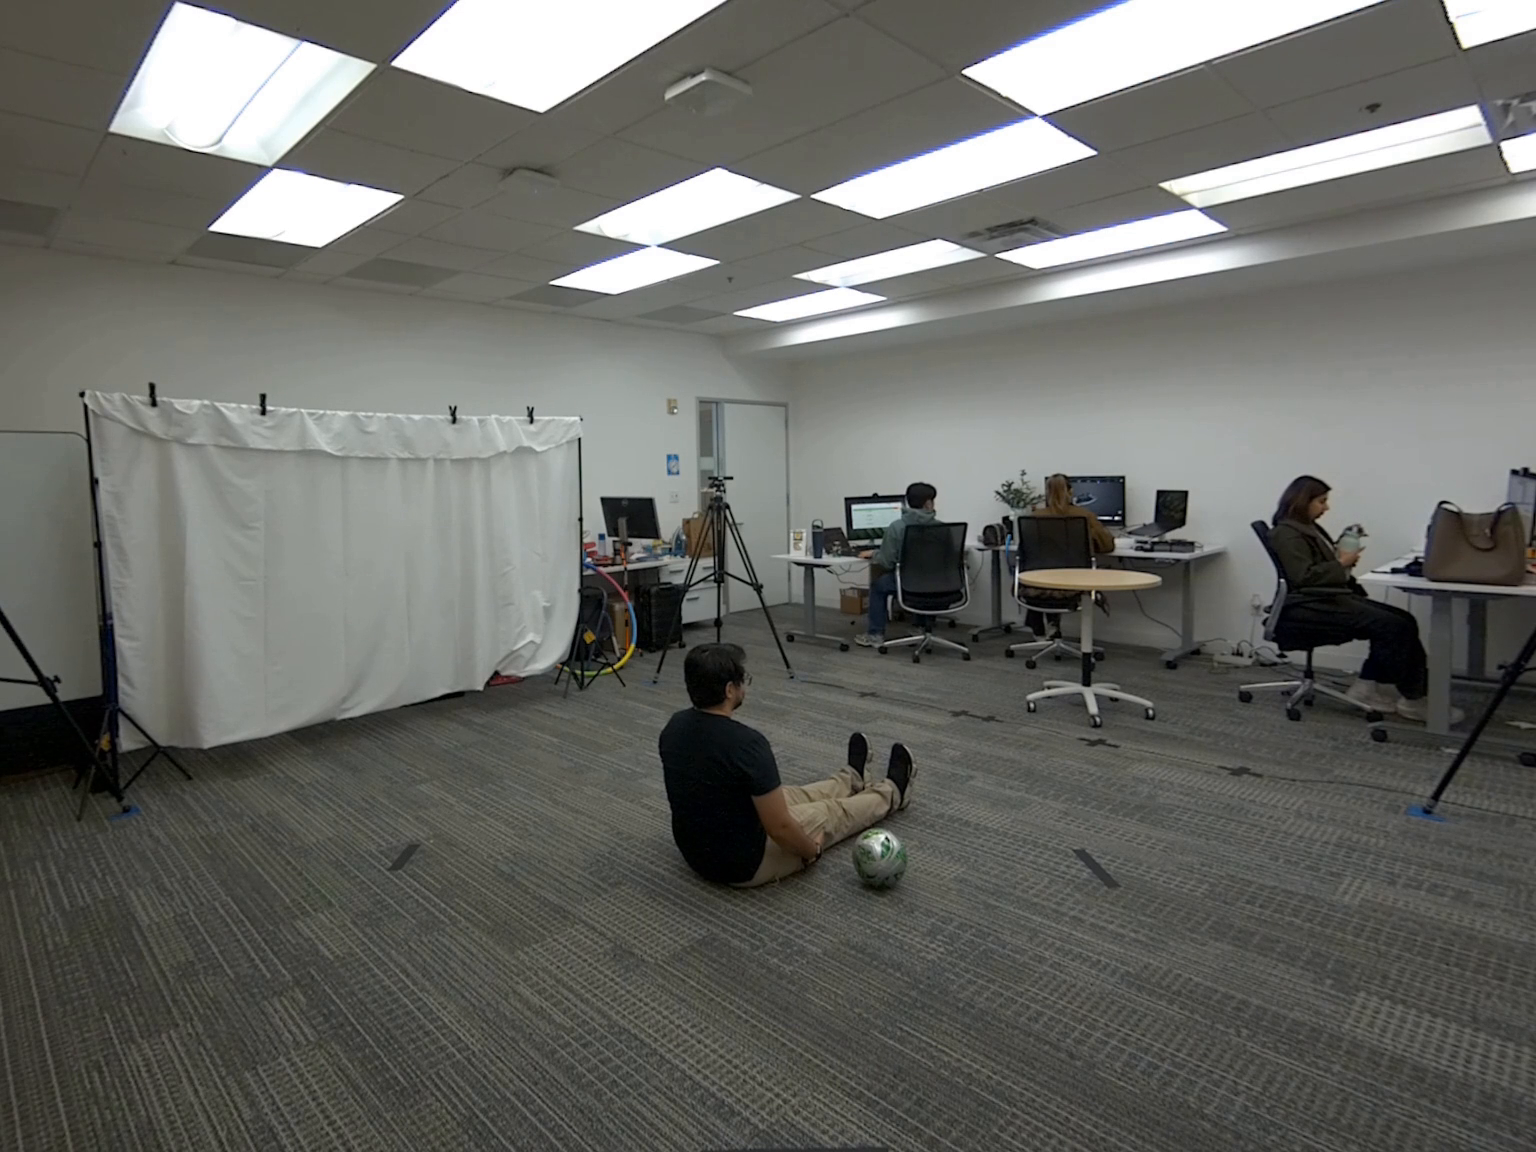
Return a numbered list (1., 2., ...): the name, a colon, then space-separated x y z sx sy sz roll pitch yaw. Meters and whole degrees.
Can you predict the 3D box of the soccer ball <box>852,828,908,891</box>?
1. soccer ball: 0.375 0.949 2.910 0.187 0.187 0.188 -1 4 -2
